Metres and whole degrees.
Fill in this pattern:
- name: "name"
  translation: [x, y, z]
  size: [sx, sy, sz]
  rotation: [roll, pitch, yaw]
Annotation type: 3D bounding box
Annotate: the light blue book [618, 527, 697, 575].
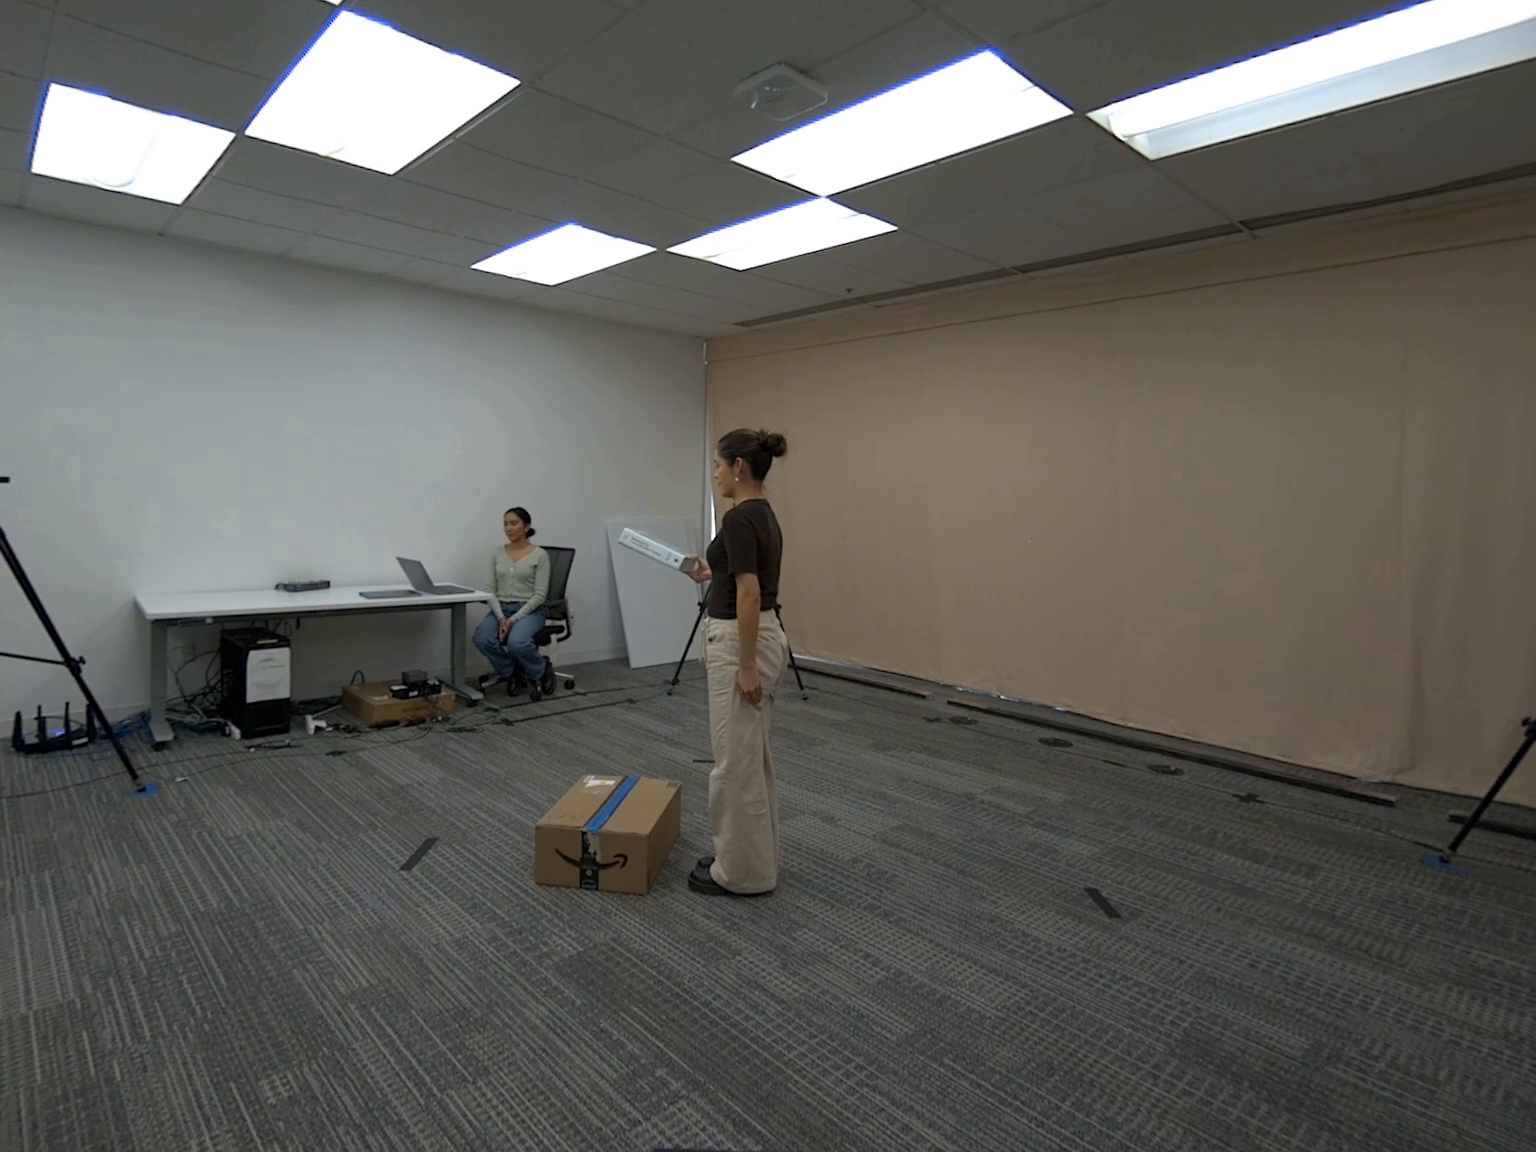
- name: "light blue book"
  translation: [-0.416, -0.090, 3.208]
  size: [0.264, 0.059, 0.189]
  rotation: [25, 2, 12]
